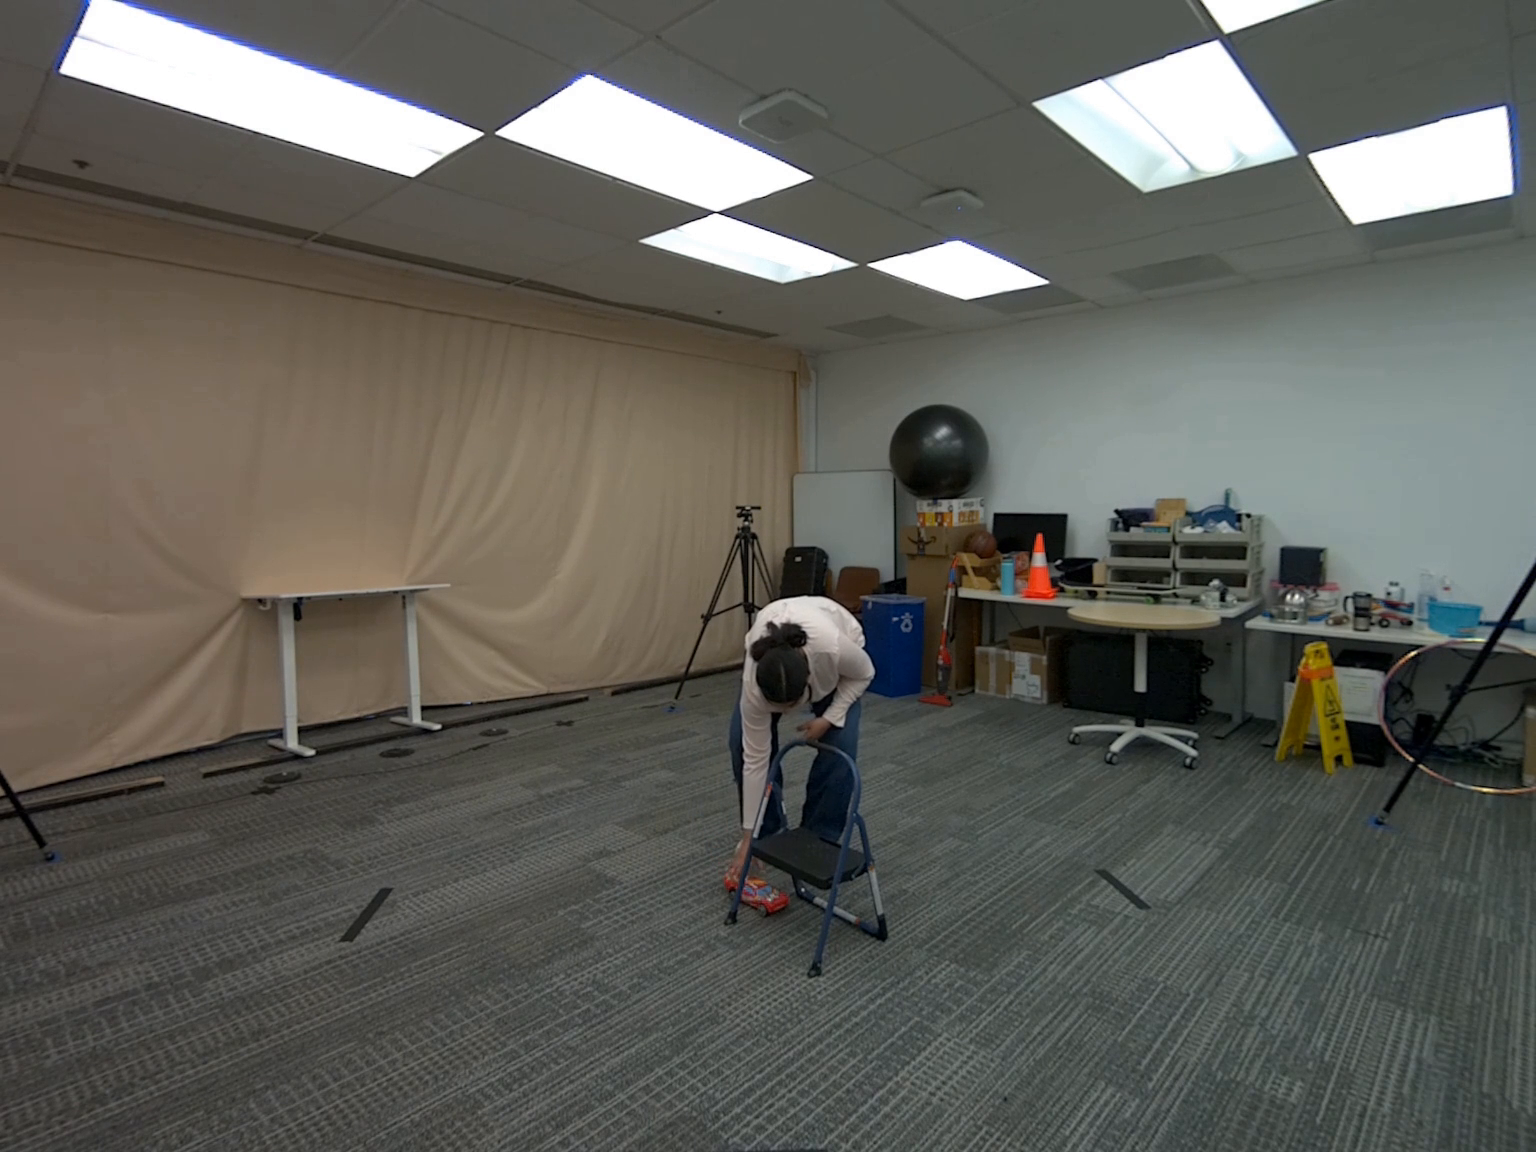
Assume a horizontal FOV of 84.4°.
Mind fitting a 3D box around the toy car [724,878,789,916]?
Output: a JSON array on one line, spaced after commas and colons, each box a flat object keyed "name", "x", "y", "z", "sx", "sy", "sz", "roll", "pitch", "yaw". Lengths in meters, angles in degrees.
[{"name": "toy car", "x": -0.052, "y": 1.113, "z": 2.962, "sx": 0.126, "sy": 0.083, "sz": 0.264, "roll": -4, "pitch": 17, "yaw": -42}]
